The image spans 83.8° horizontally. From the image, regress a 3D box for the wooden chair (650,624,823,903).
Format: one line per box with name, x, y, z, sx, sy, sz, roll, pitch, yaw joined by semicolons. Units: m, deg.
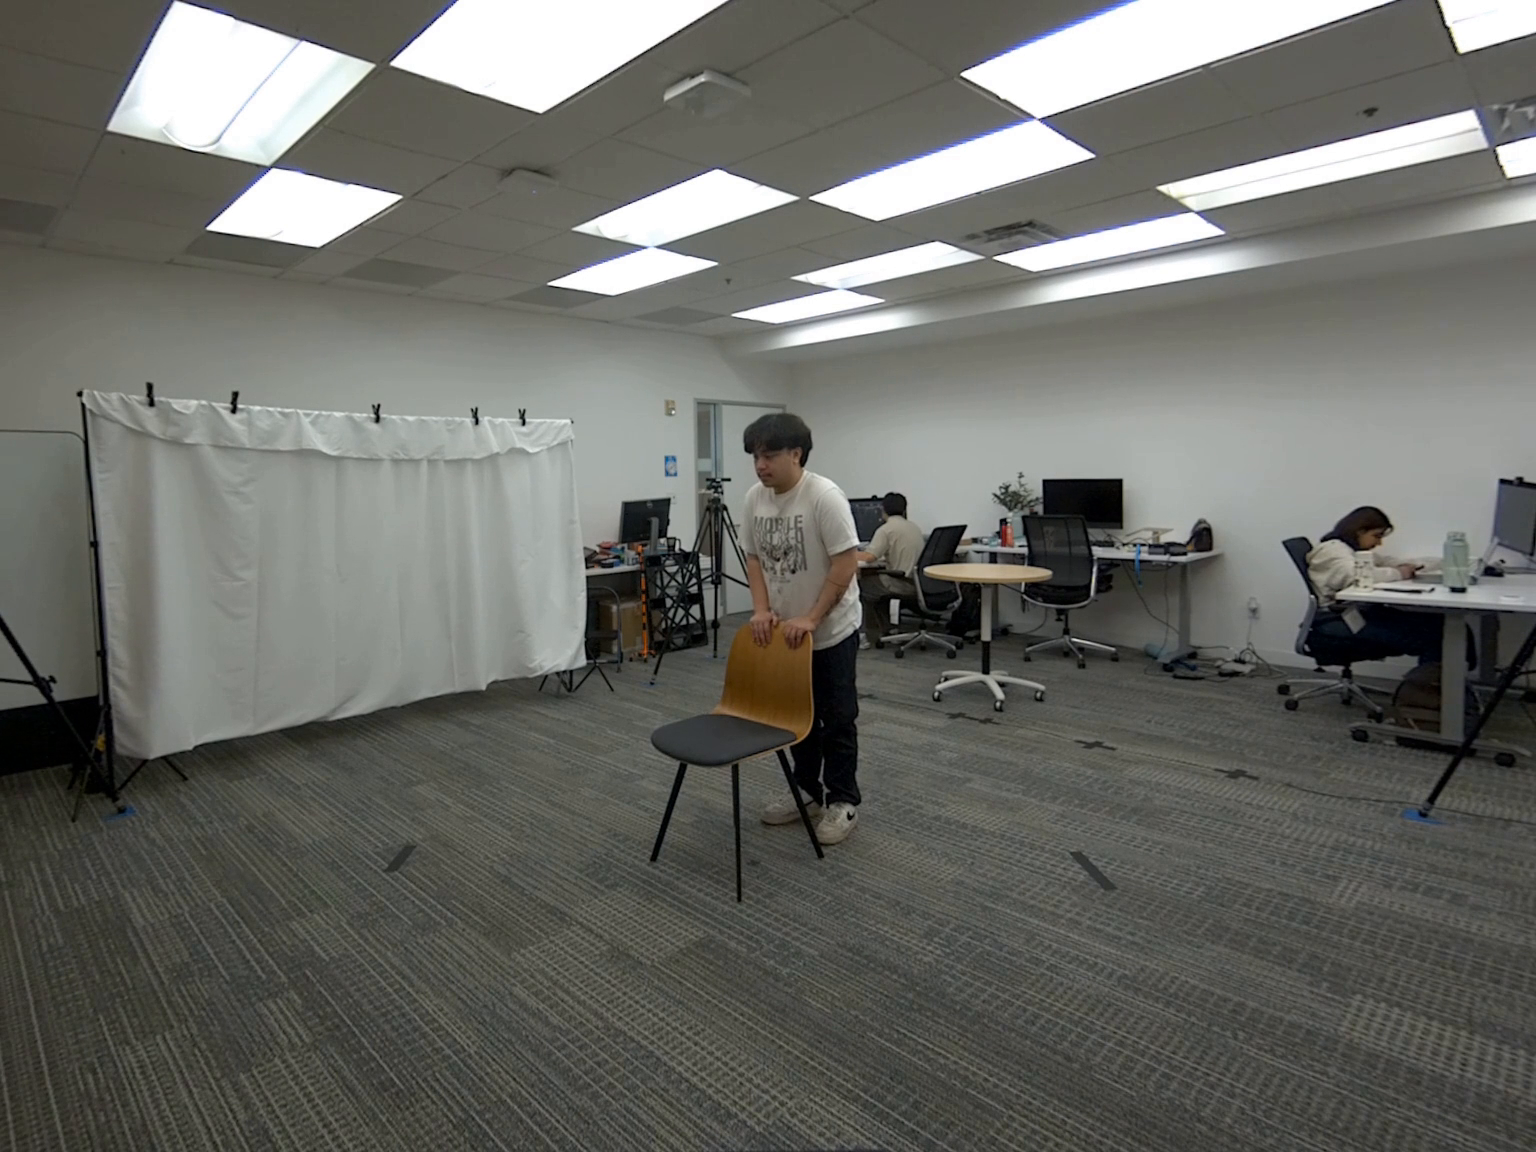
wooden chair;-0.123;0.620;3.093;0.493;0.877;0.508;4;2;43
